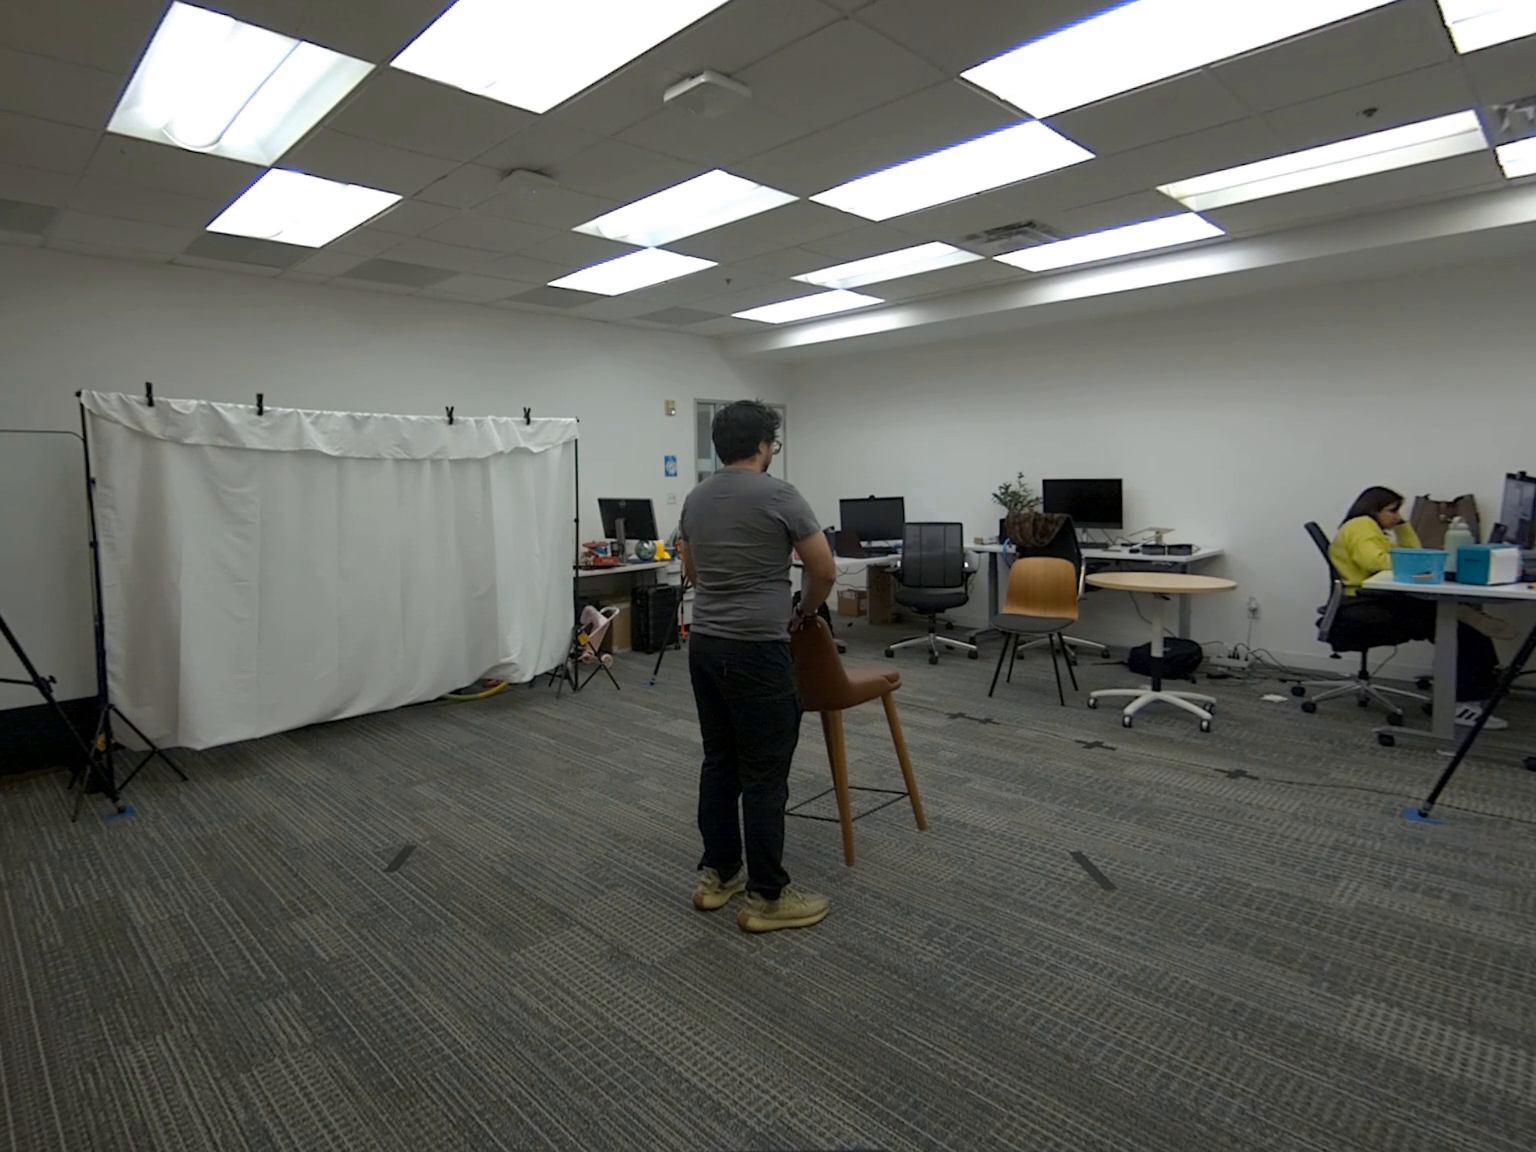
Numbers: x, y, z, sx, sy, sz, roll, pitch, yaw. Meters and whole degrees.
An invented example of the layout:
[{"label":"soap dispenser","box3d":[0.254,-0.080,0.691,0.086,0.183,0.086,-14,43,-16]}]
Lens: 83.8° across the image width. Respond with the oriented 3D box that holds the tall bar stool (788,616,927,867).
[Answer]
[{"label":"tall bar stool","box3d":[0.239,0.564,3.228,0.456,0.890,0.467,-8,-1,-44]}]
